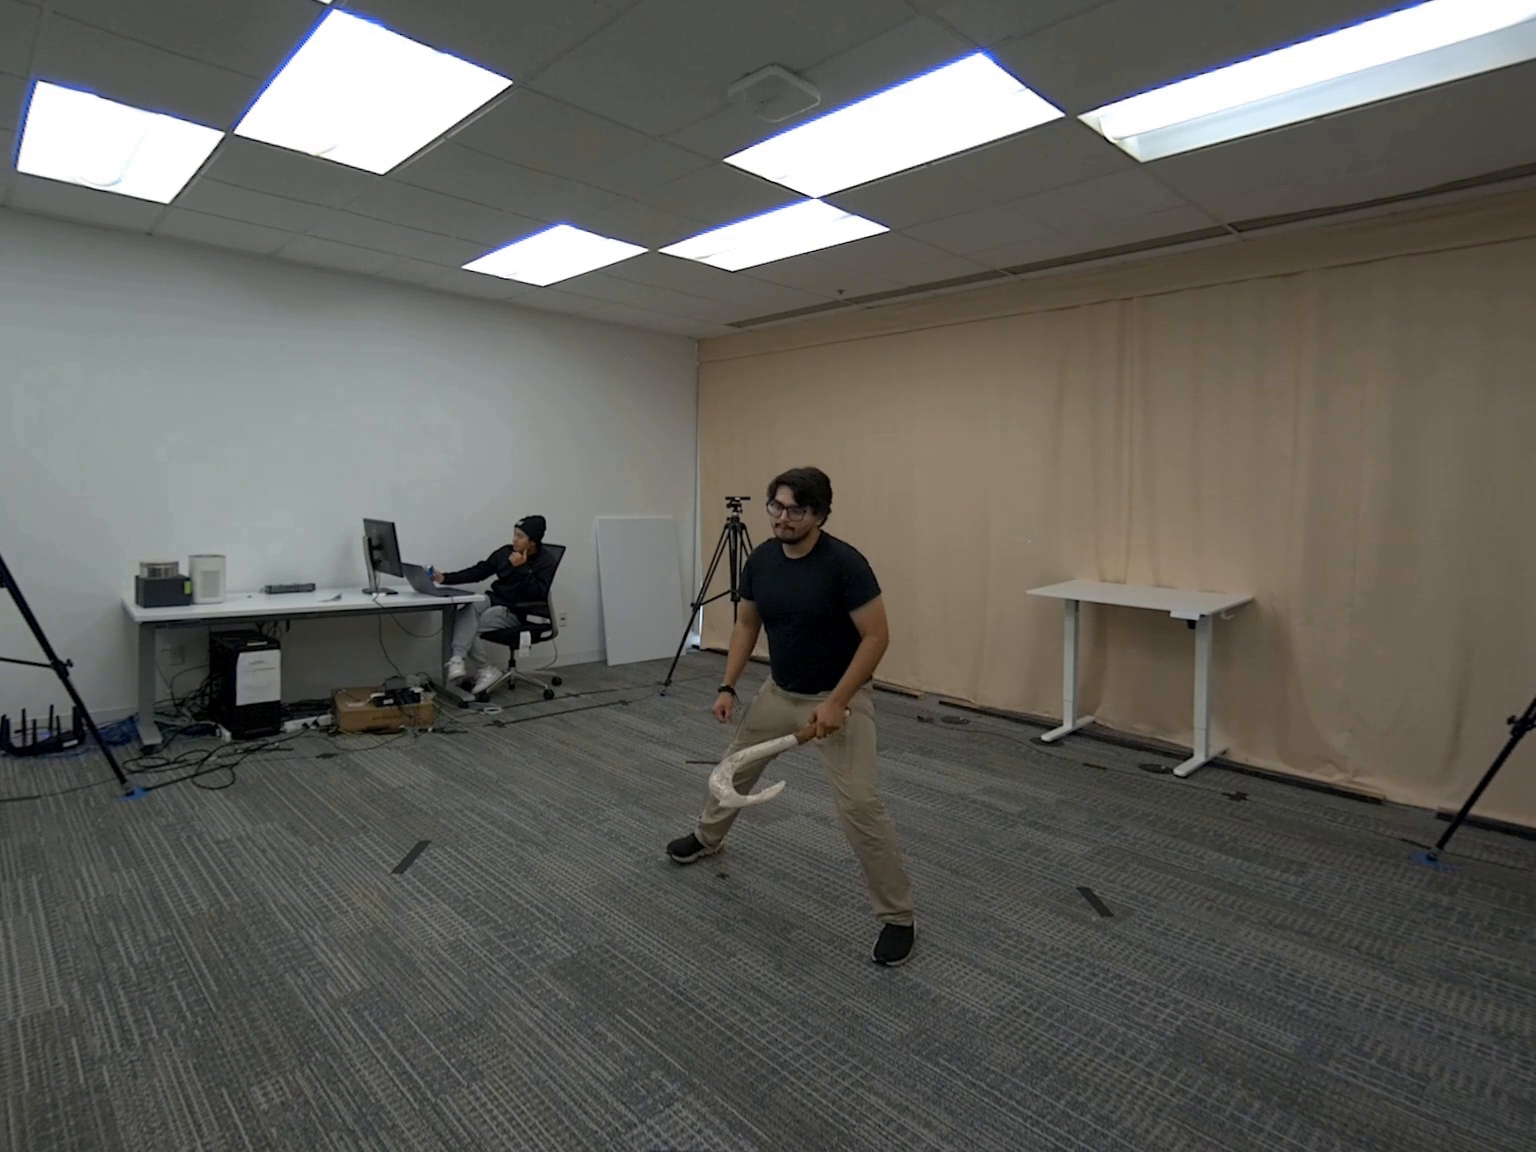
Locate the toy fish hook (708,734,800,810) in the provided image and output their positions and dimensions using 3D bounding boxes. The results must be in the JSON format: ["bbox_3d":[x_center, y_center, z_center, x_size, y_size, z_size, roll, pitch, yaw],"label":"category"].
[{"bbox_3d":[0.055,0.541,2.545,0.503,0.047,0.232,-28,36,-16],"label":"toy fish hook"}]
